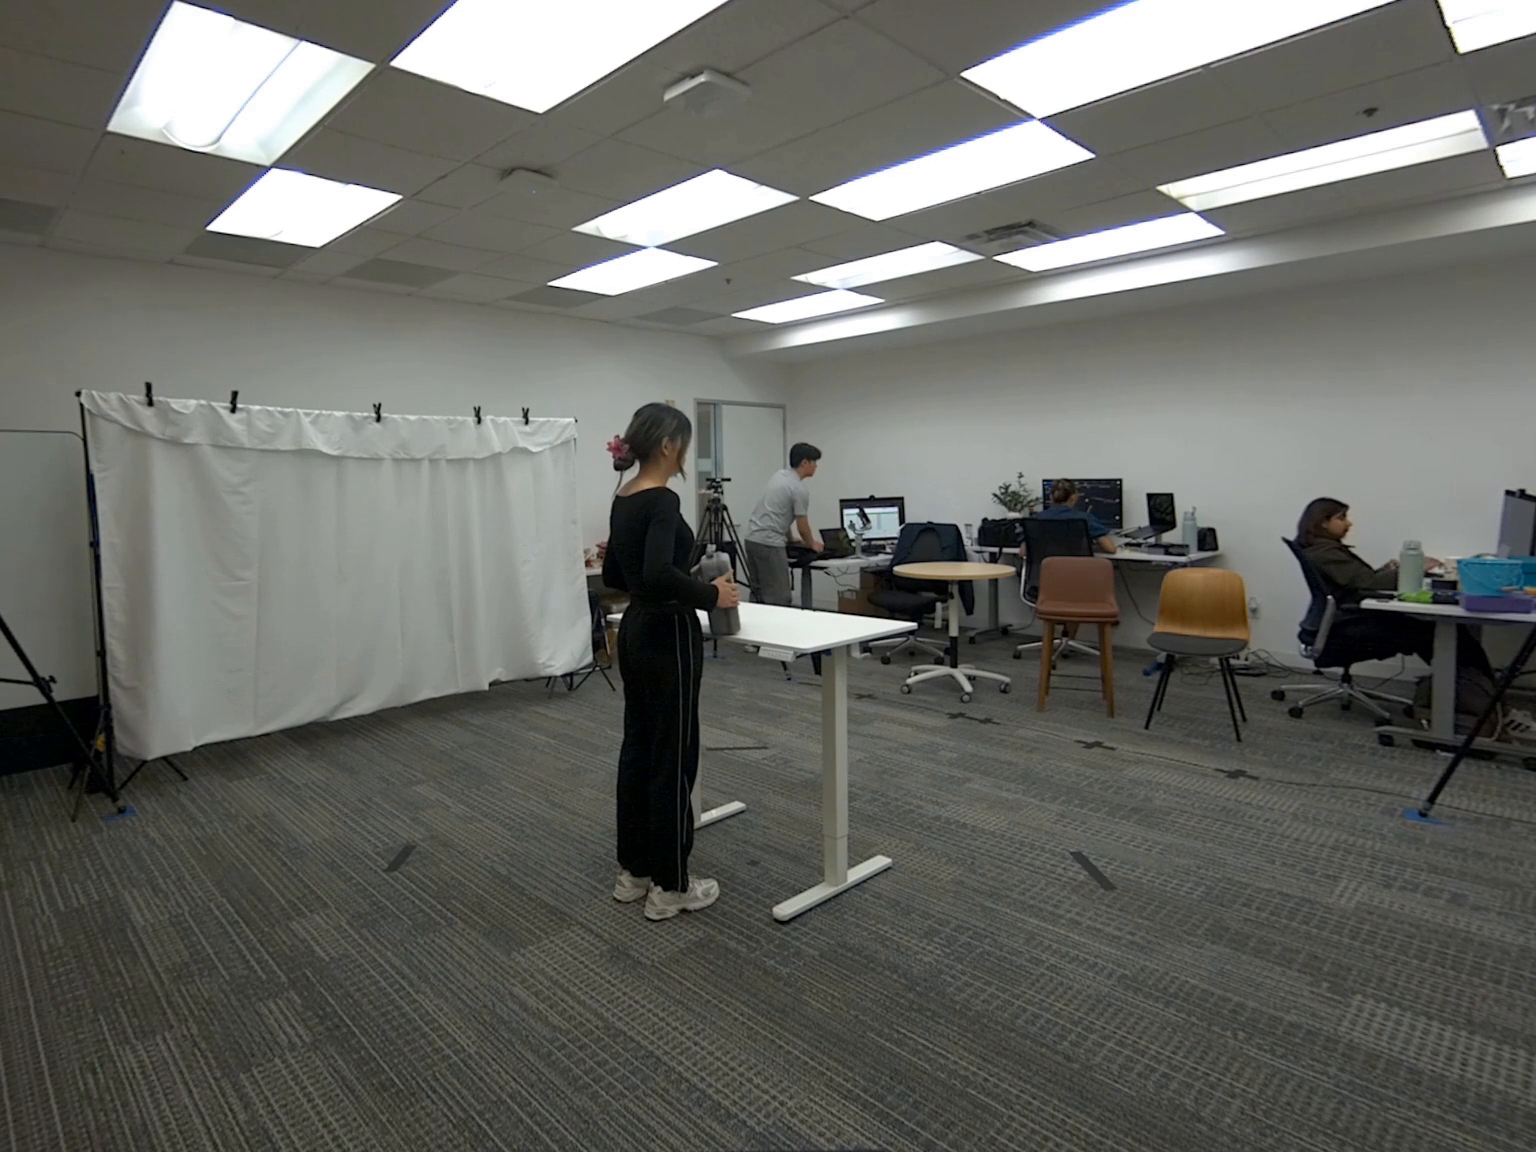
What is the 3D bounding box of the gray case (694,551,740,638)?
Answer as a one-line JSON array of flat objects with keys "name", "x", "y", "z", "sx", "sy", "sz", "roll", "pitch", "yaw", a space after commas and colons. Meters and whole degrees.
[{"name": "gray case", "x": -0.151, "y": 0.050, "z": 2.882, "sx": 0.104, "sy": 0.260, "sz": 0.258, "roll": -6, "pitch": 2, "yaw": -5}]
